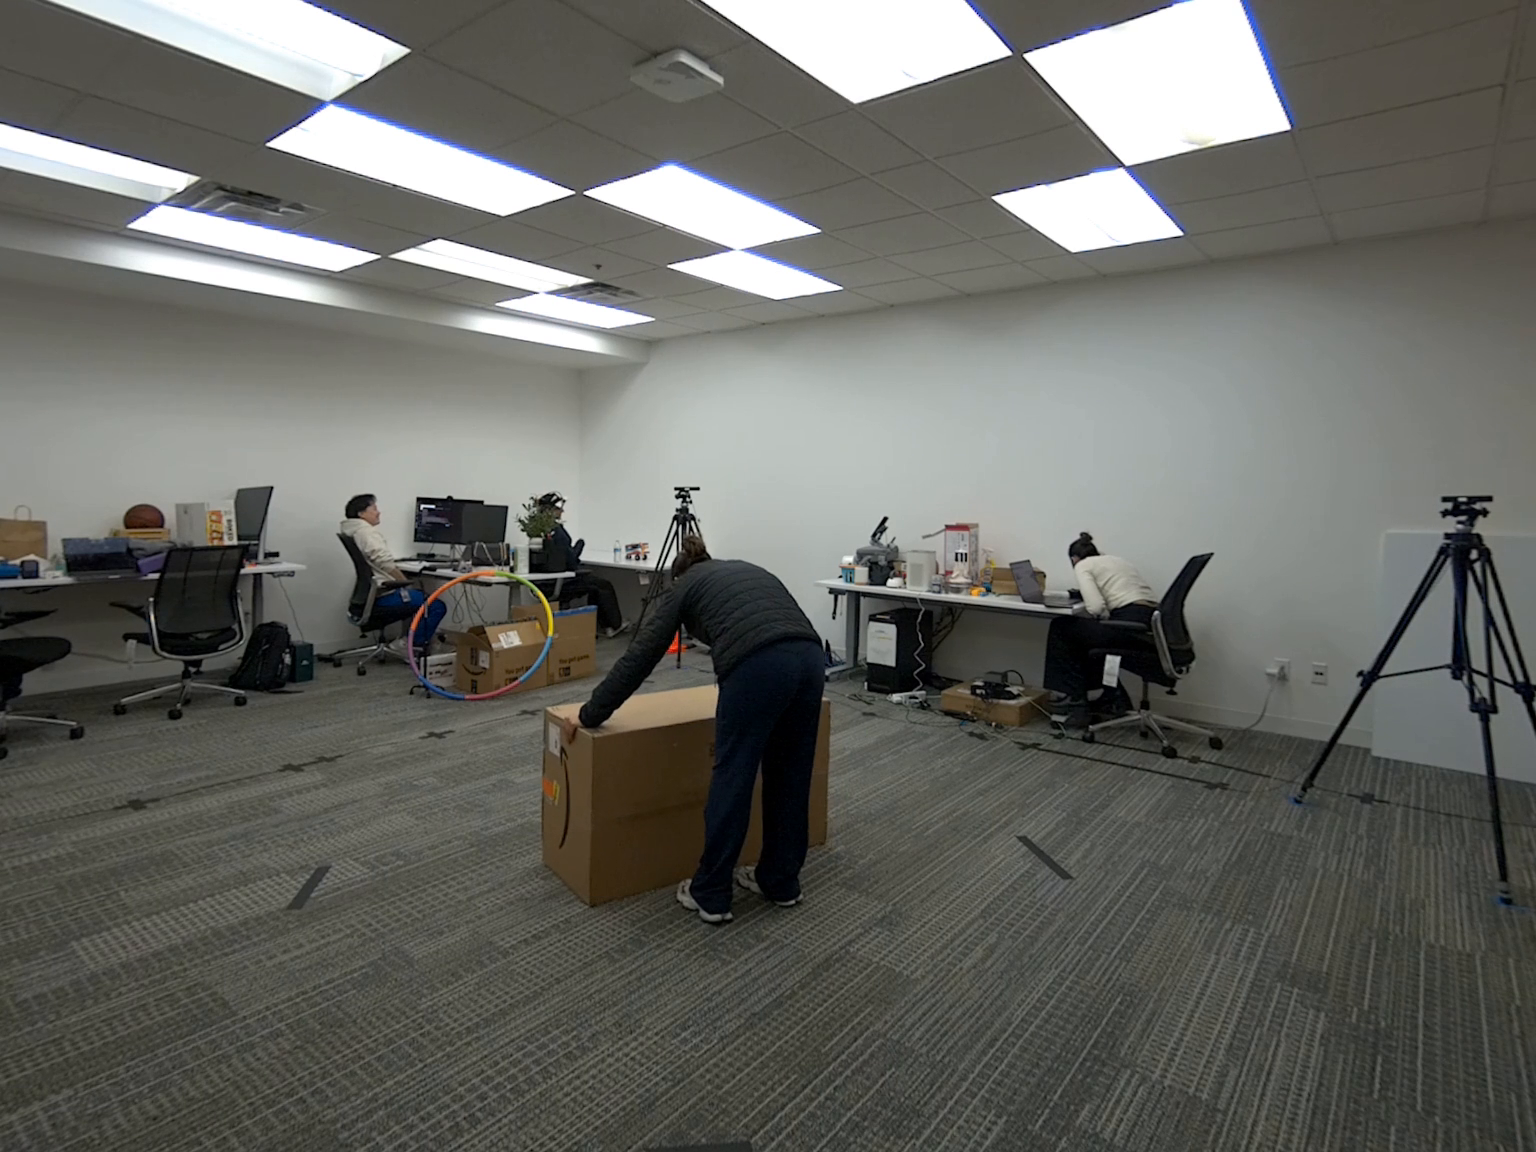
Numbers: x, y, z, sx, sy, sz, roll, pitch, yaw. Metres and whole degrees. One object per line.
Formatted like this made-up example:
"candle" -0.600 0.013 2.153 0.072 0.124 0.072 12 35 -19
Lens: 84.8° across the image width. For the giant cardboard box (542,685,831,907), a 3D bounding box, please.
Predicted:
"giant cardboard box" -0.291 0.764 3.254 0.998 0.581 0.461 -2 6 -33
